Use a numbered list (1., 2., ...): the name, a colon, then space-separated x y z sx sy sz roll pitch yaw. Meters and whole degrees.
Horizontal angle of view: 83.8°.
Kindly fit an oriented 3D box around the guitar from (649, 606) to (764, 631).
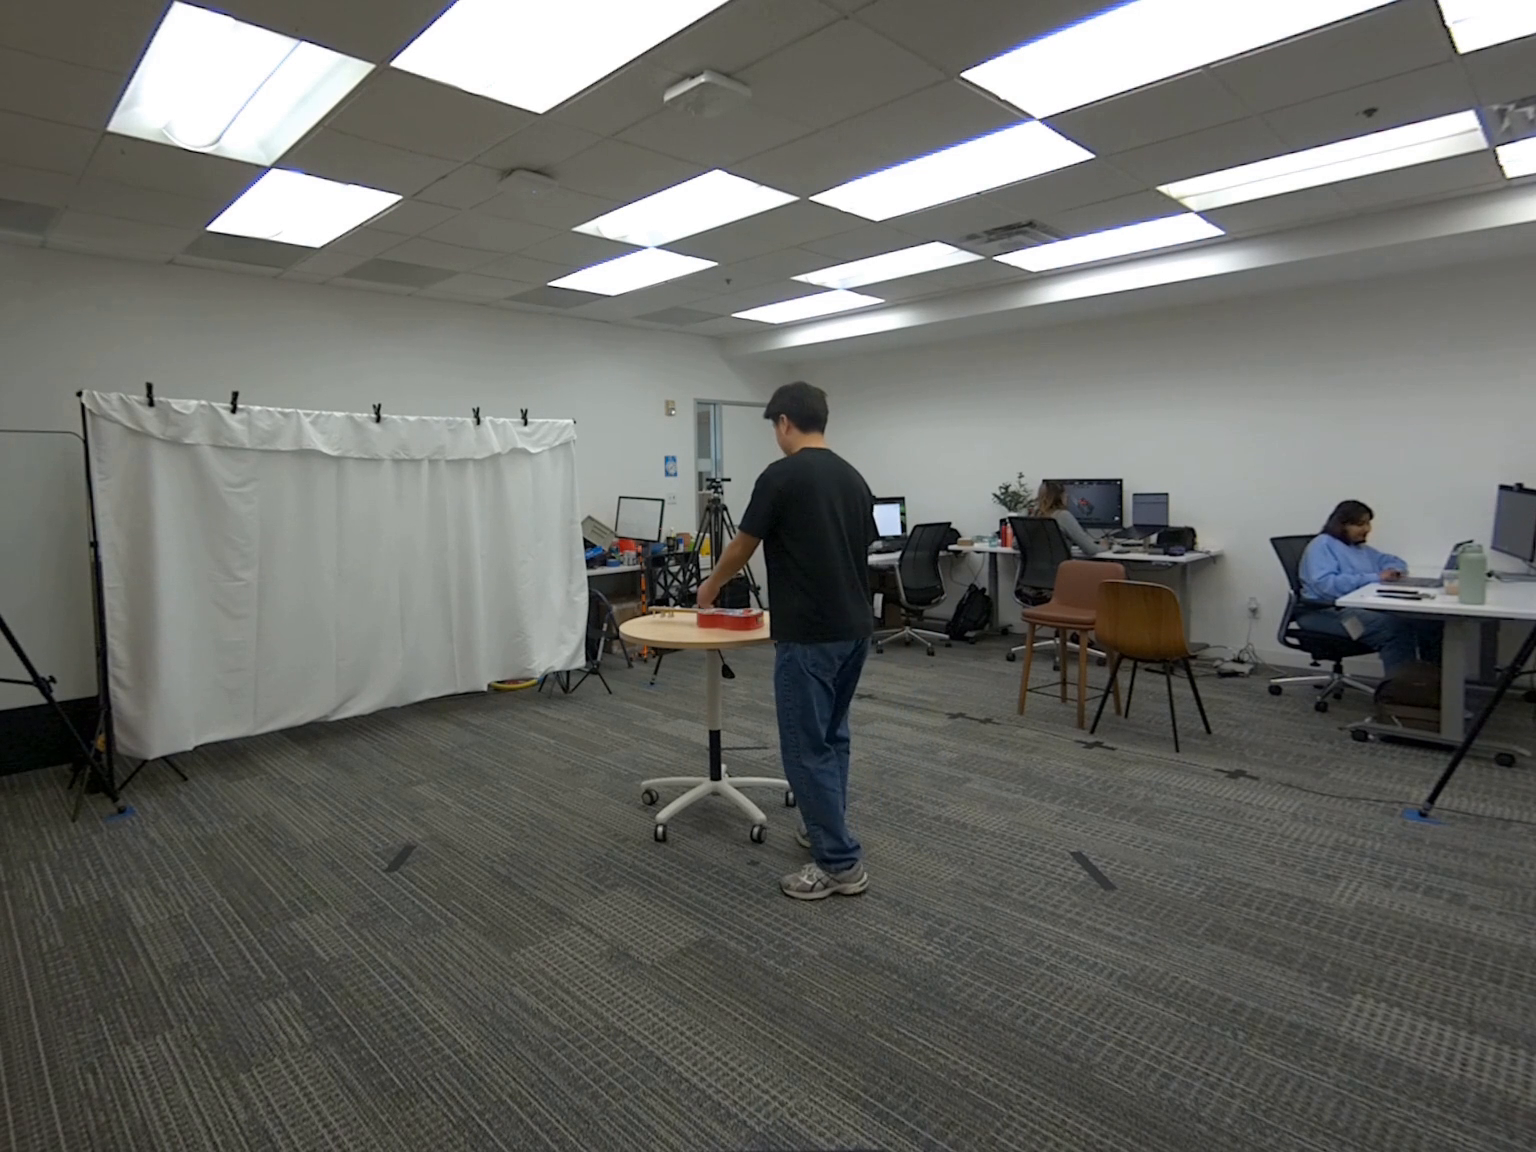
1. guitar: -0.249 0.166 3.561 0.511 0.070 0.189 3 8 32
